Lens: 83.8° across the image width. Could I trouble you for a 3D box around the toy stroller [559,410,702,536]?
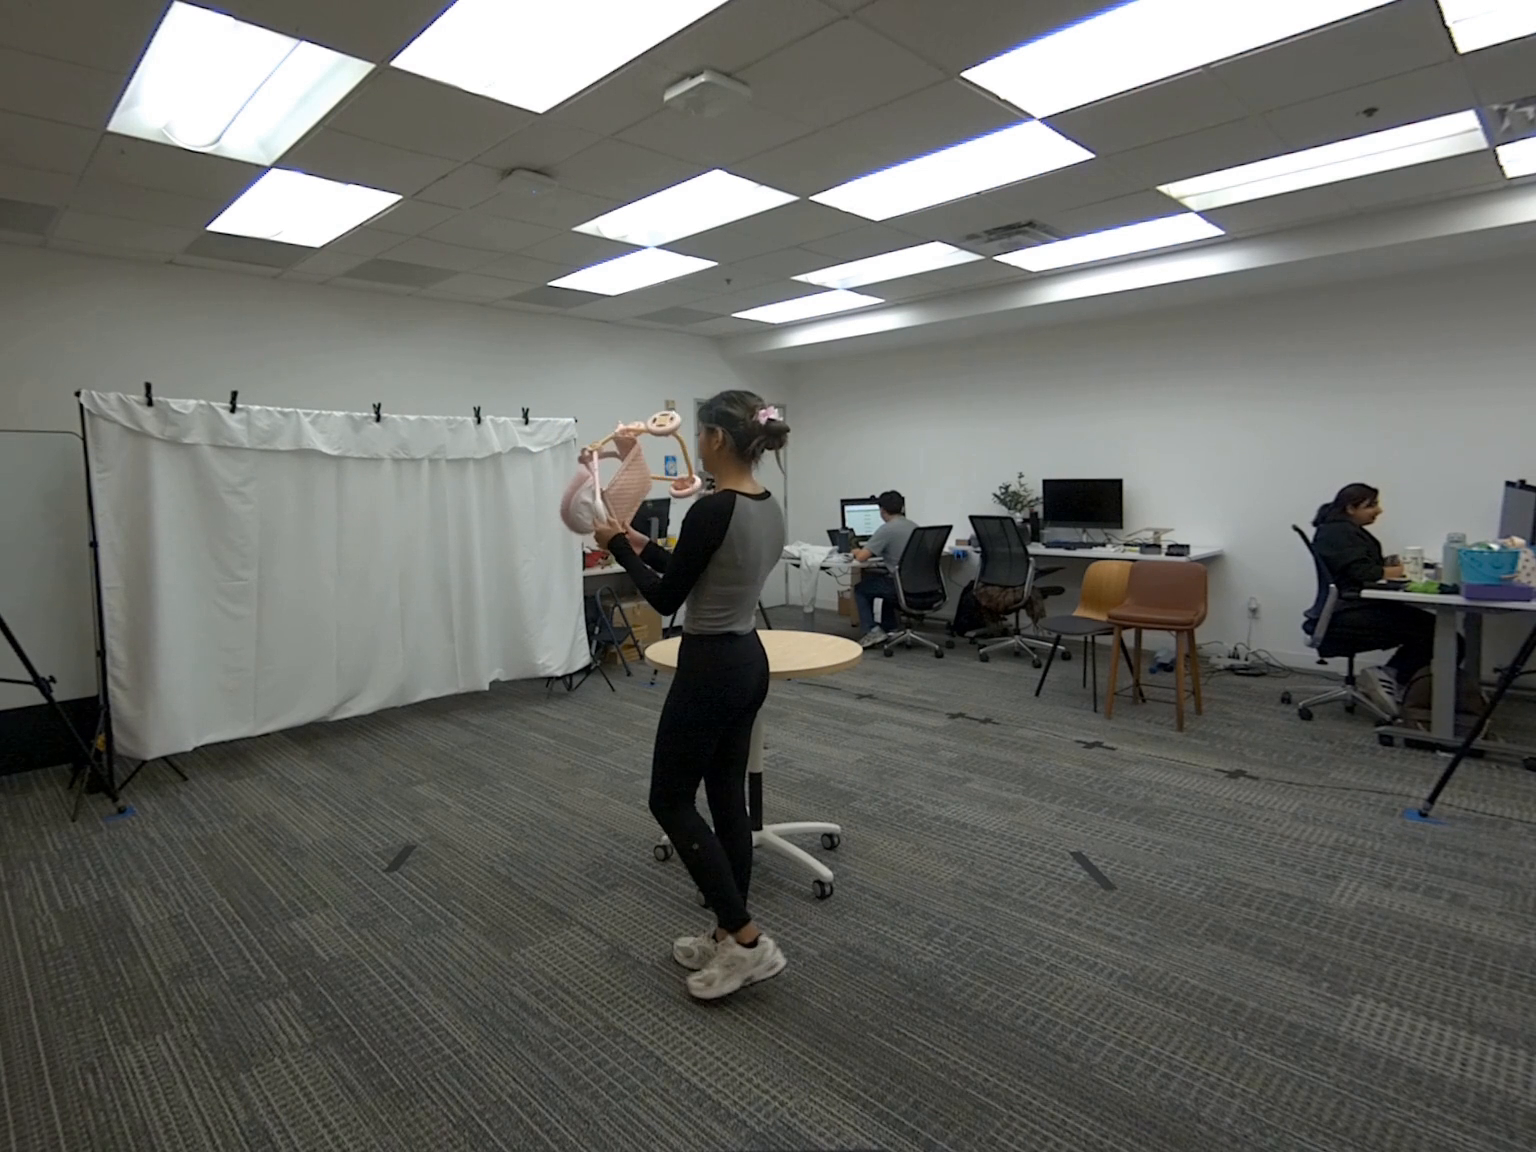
[{"bbox_3d":[-0.459,-0.307,2.687,0.352,0.272,0.536,18,52,28],"label":"toy stroller"}]
